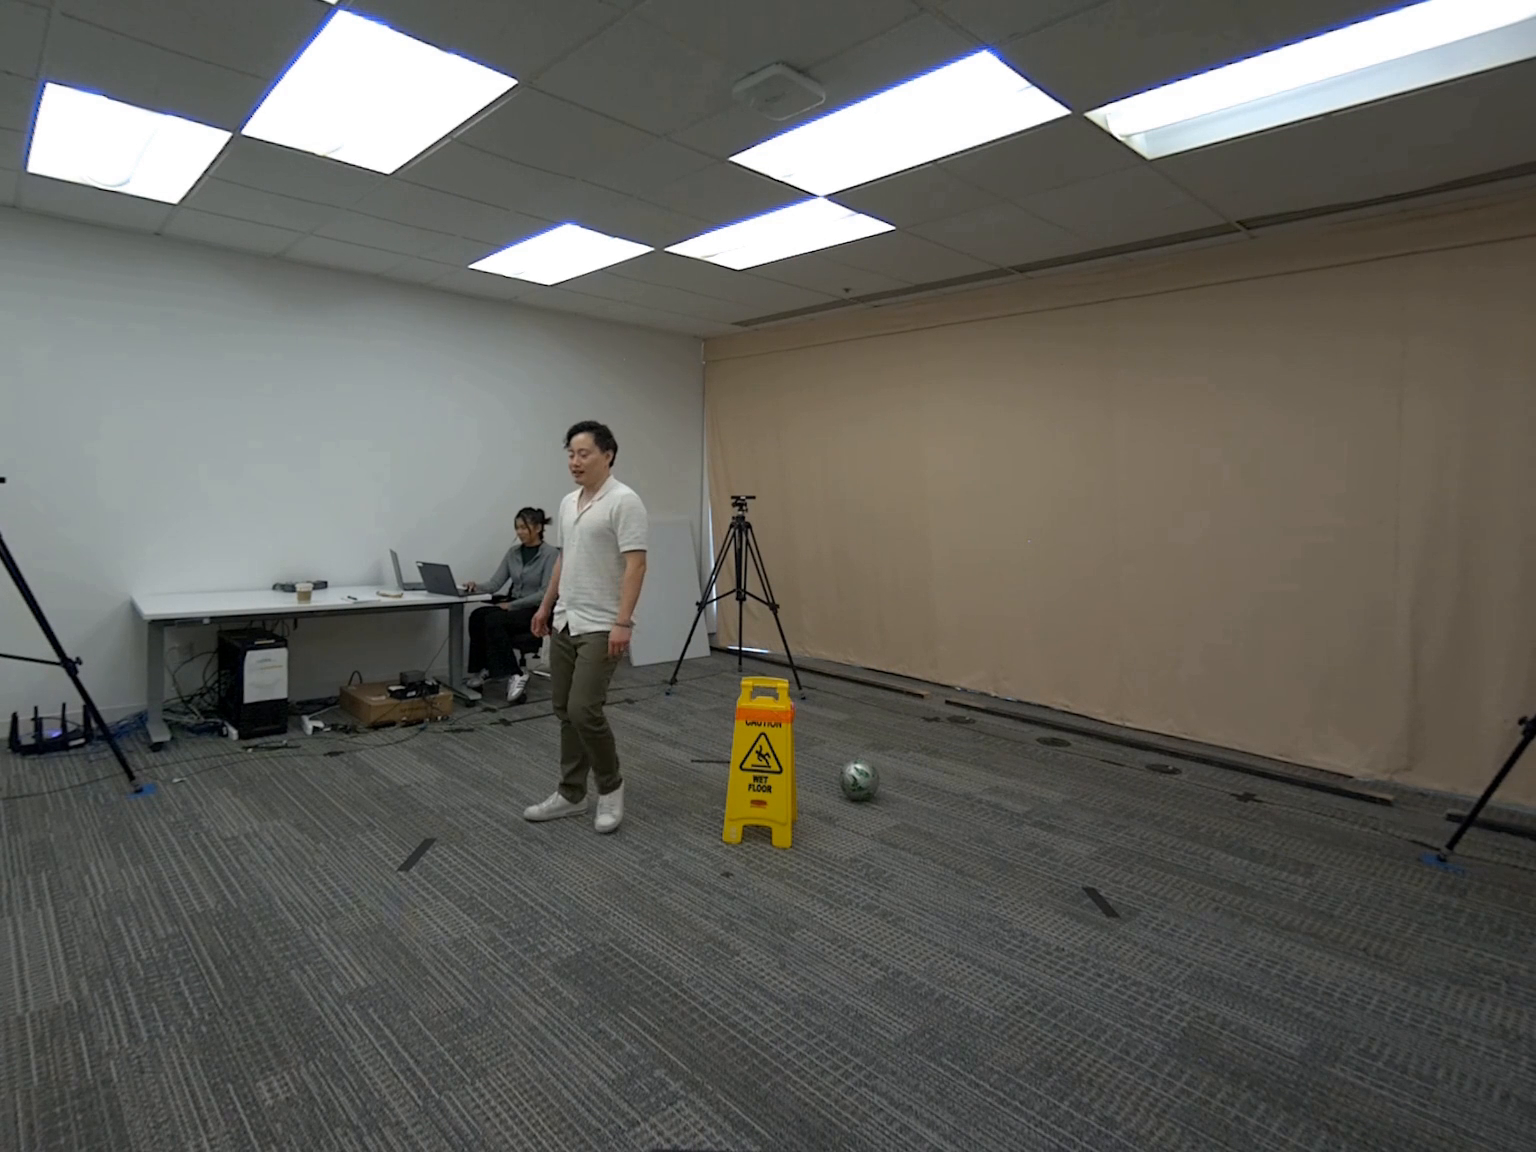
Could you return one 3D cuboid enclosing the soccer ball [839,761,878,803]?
[{"bbox_3d":[0.413,0.960,3.934,0.187,0.187,0.188,1,4,-1],"label":"soccer ball"}]
